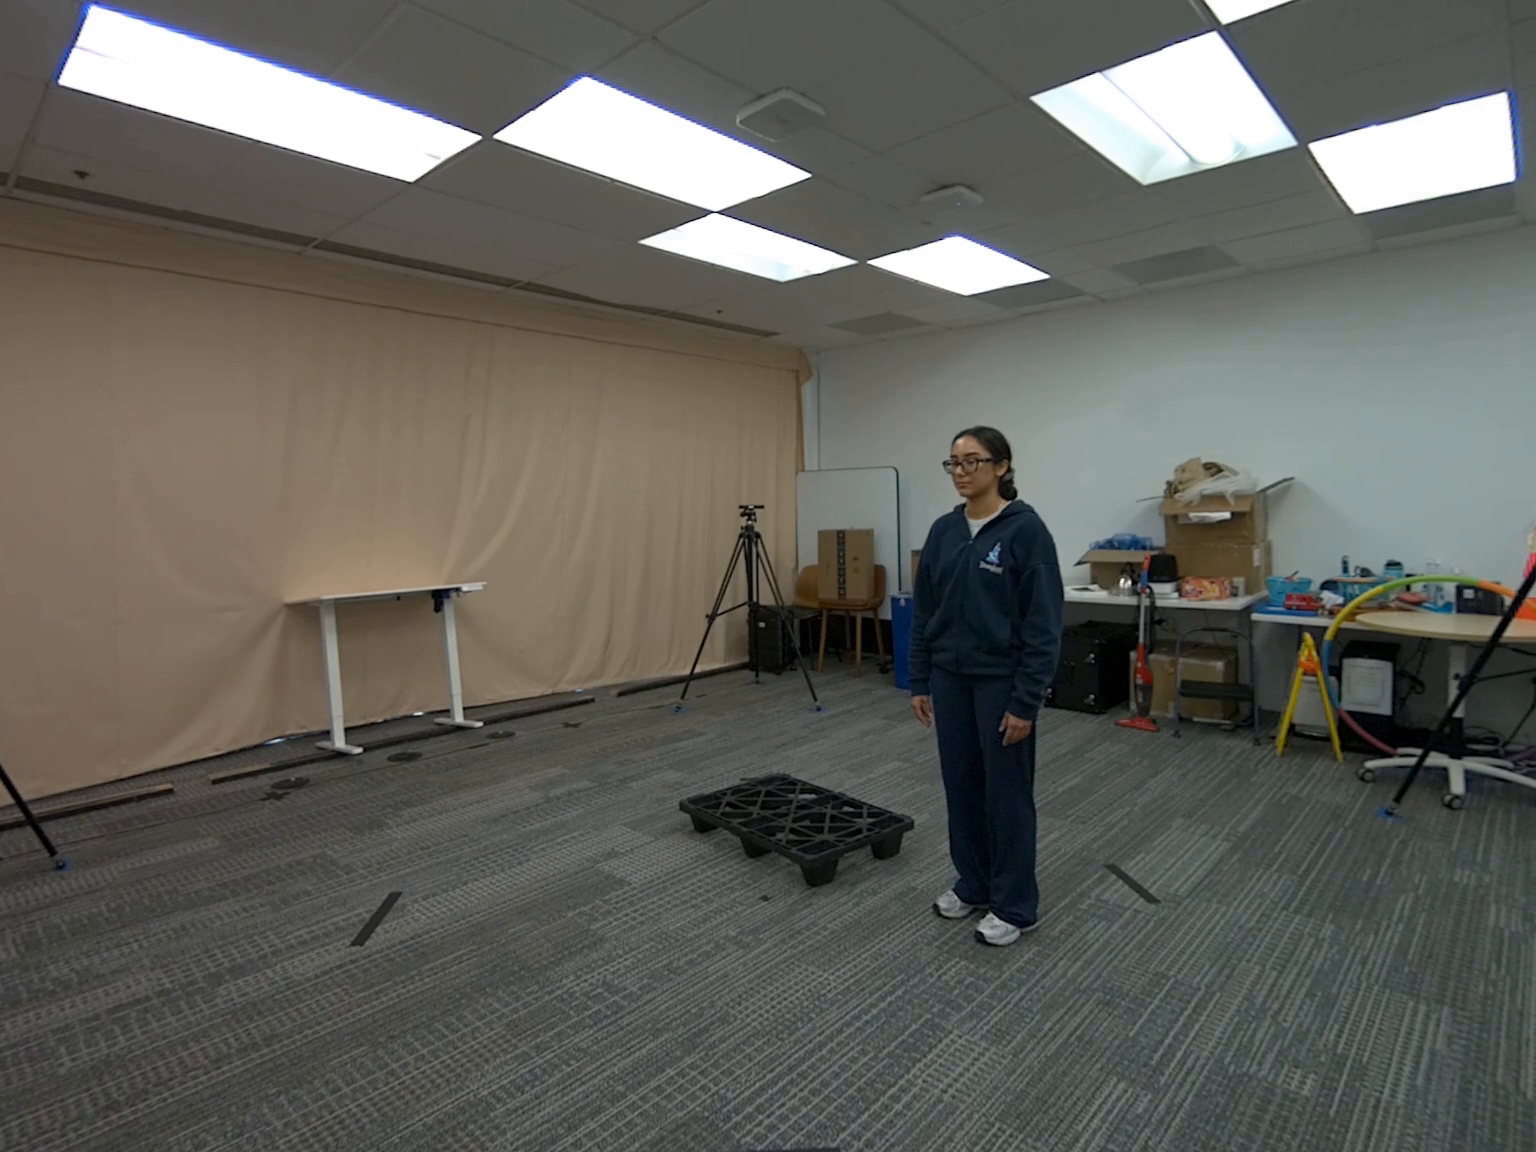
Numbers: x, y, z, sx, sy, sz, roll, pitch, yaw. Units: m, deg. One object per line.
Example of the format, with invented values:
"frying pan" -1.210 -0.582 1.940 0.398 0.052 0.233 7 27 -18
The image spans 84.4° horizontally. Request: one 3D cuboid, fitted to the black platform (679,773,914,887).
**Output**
"black platform" 0.104 1.030 3.469 0.587 0.143 0.832 -5 6 -40
